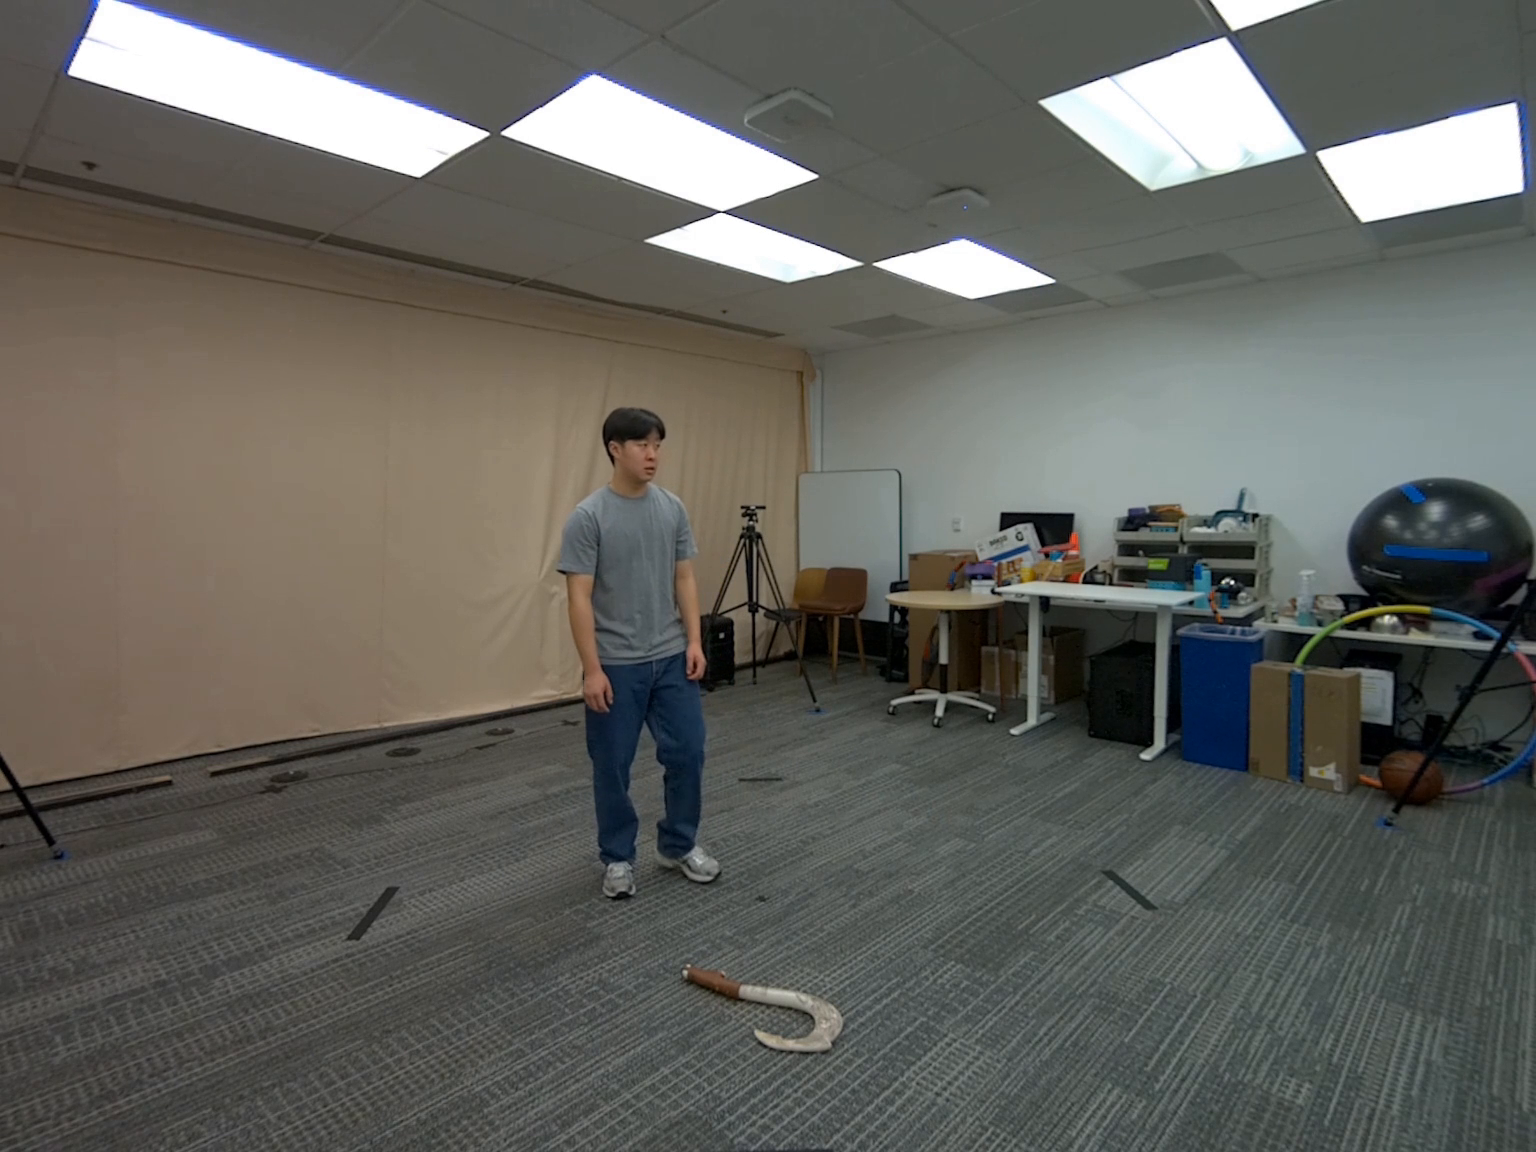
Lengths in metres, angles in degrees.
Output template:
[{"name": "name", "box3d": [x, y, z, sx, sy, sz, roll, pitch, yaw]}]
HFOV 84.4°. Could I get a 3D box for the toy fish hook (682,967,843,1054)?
[{"name": "toy fish hook", "box3d": [-0.044, 1.178, 2.302, 0.521, 0.048, 0.219, 2, 4, 29]}]
